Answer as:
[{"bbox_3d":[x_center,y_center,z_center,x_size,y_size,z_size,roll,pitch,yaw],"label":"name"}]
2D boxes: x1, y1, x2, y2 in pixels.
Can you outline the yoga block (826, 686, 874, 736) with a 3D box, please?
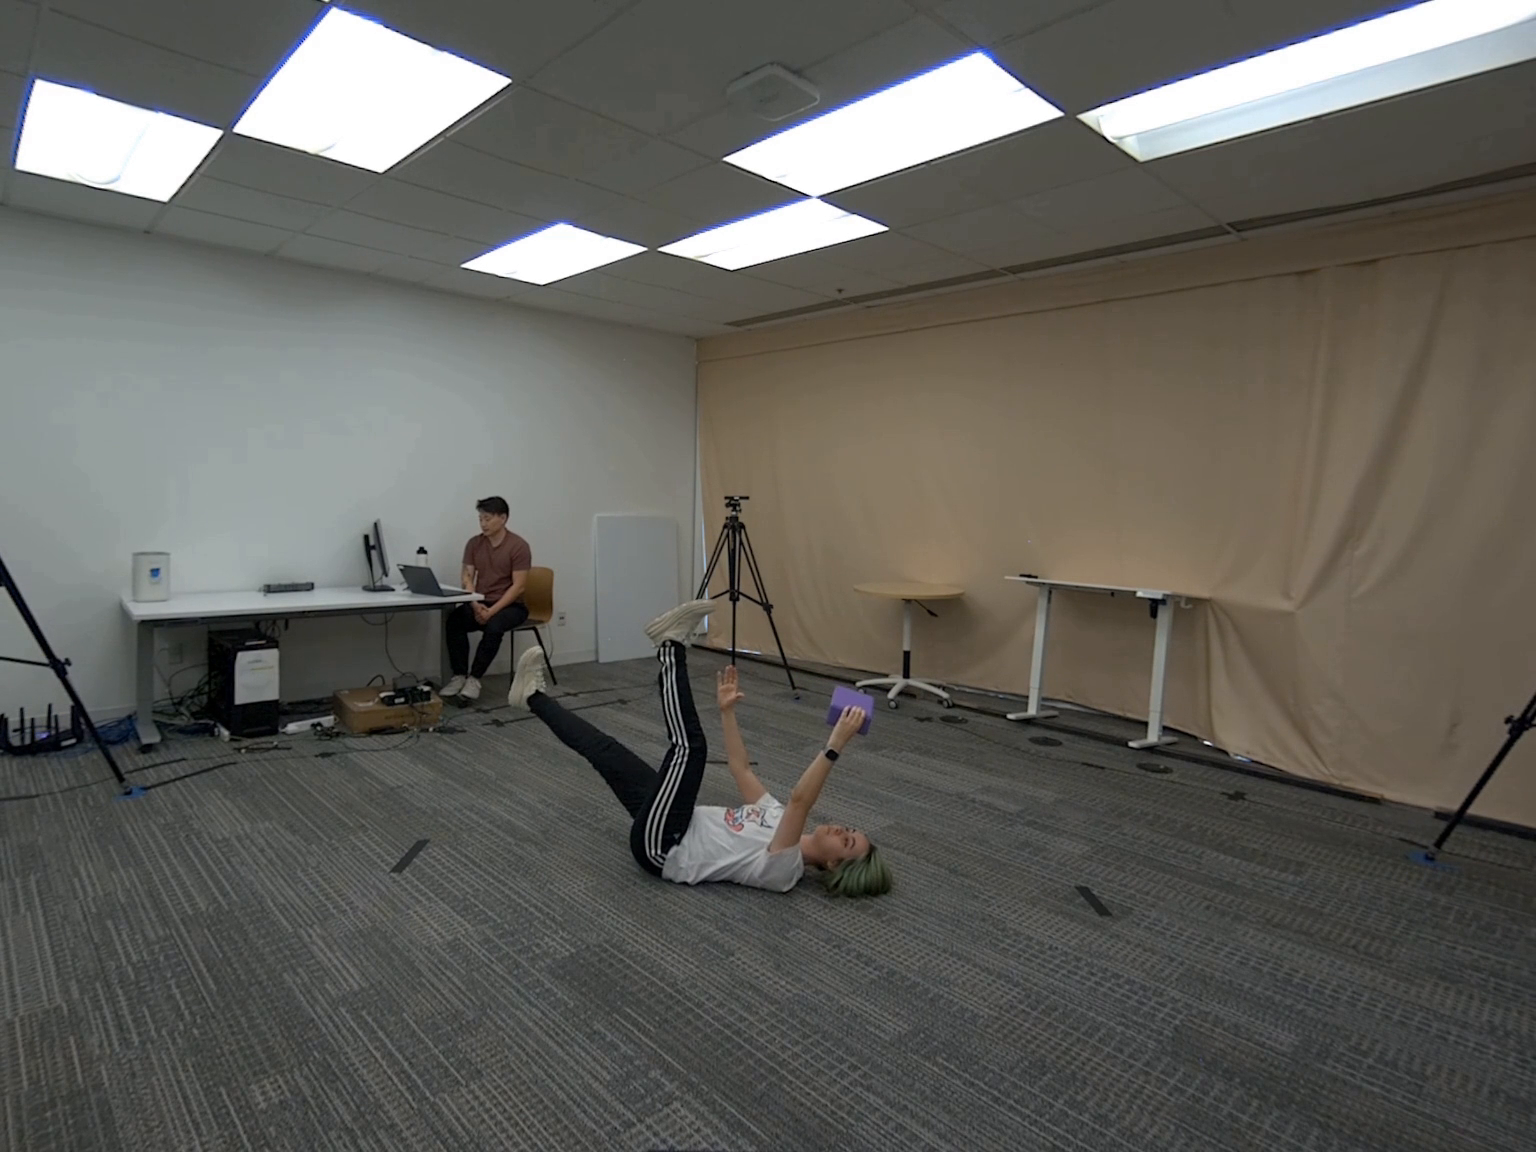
[{"bbox_3d":[0.289,0.479,3.017,0.150,0.076,0.229,15,12,5],"label":"yoga block"}]
